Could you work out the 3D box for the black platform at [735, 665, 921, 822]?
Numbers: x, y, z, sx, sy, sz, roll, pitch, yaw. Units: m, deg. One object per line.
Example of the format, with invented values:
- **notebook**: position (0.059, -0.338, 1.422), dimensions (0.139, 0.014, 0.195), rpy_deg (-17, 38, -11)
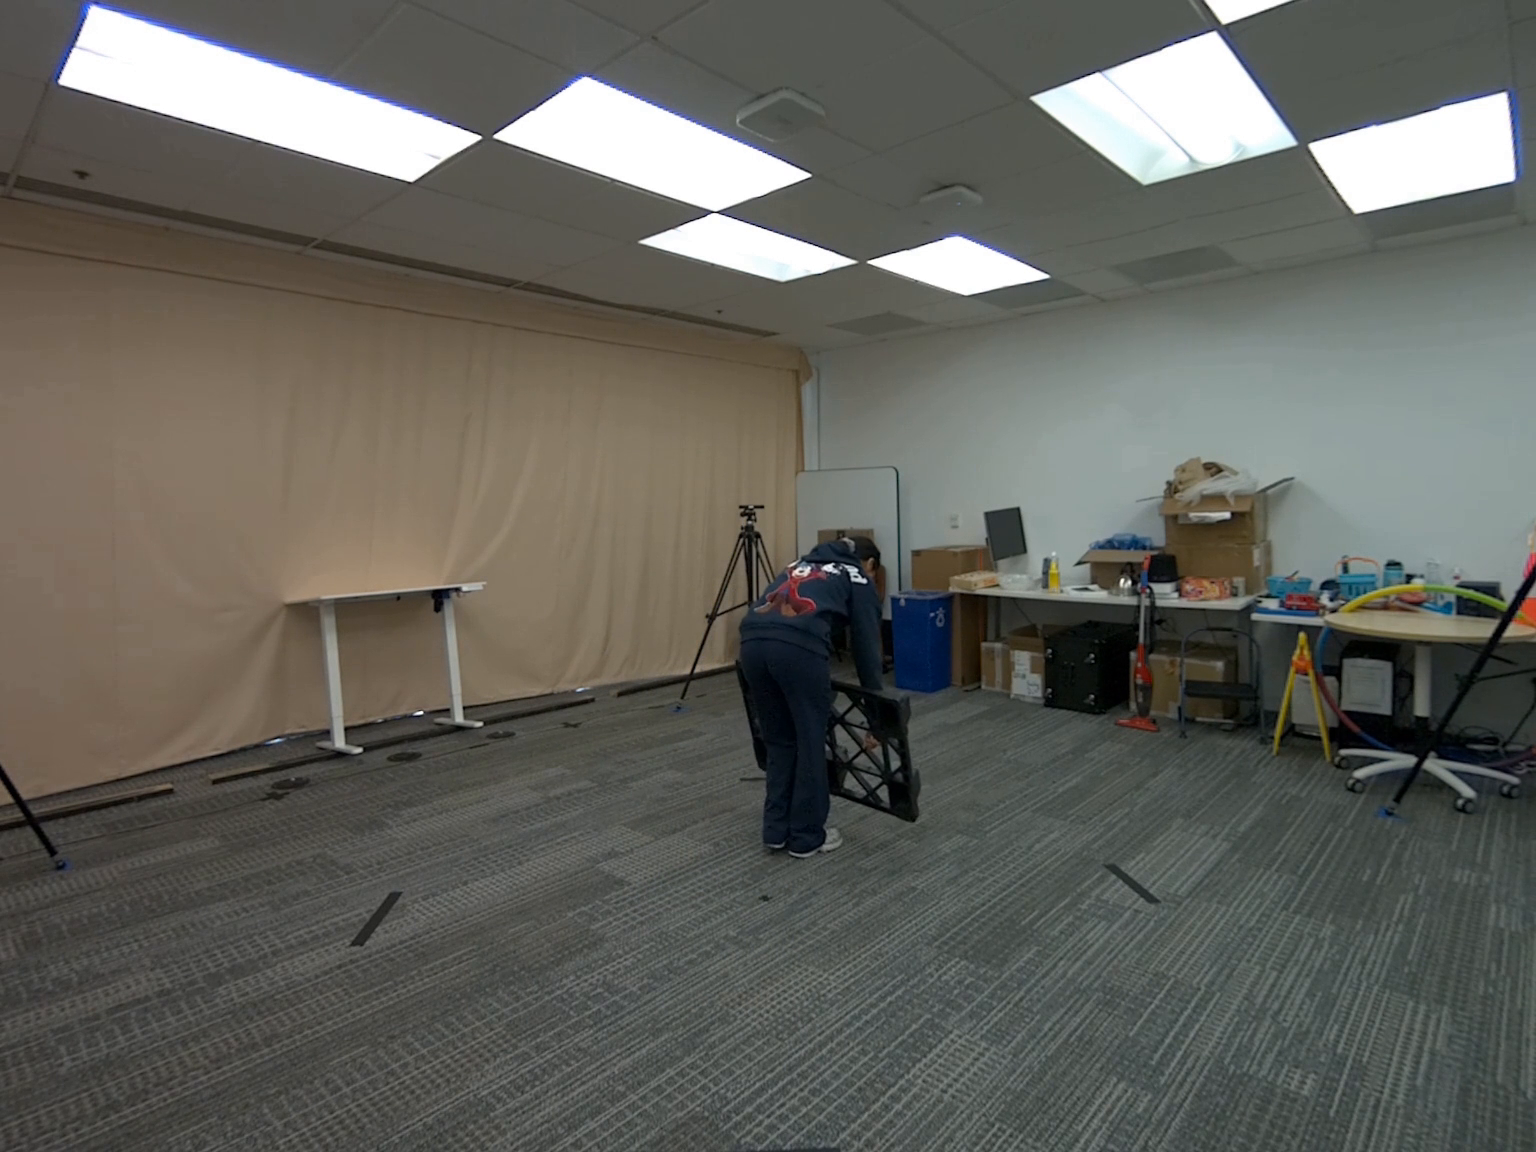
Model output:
- **black platform**: position (0.266, 0.651, 3.576), dimensions (0.833, 0.595, 0.141), rpy_deg (9, 29, 38)
